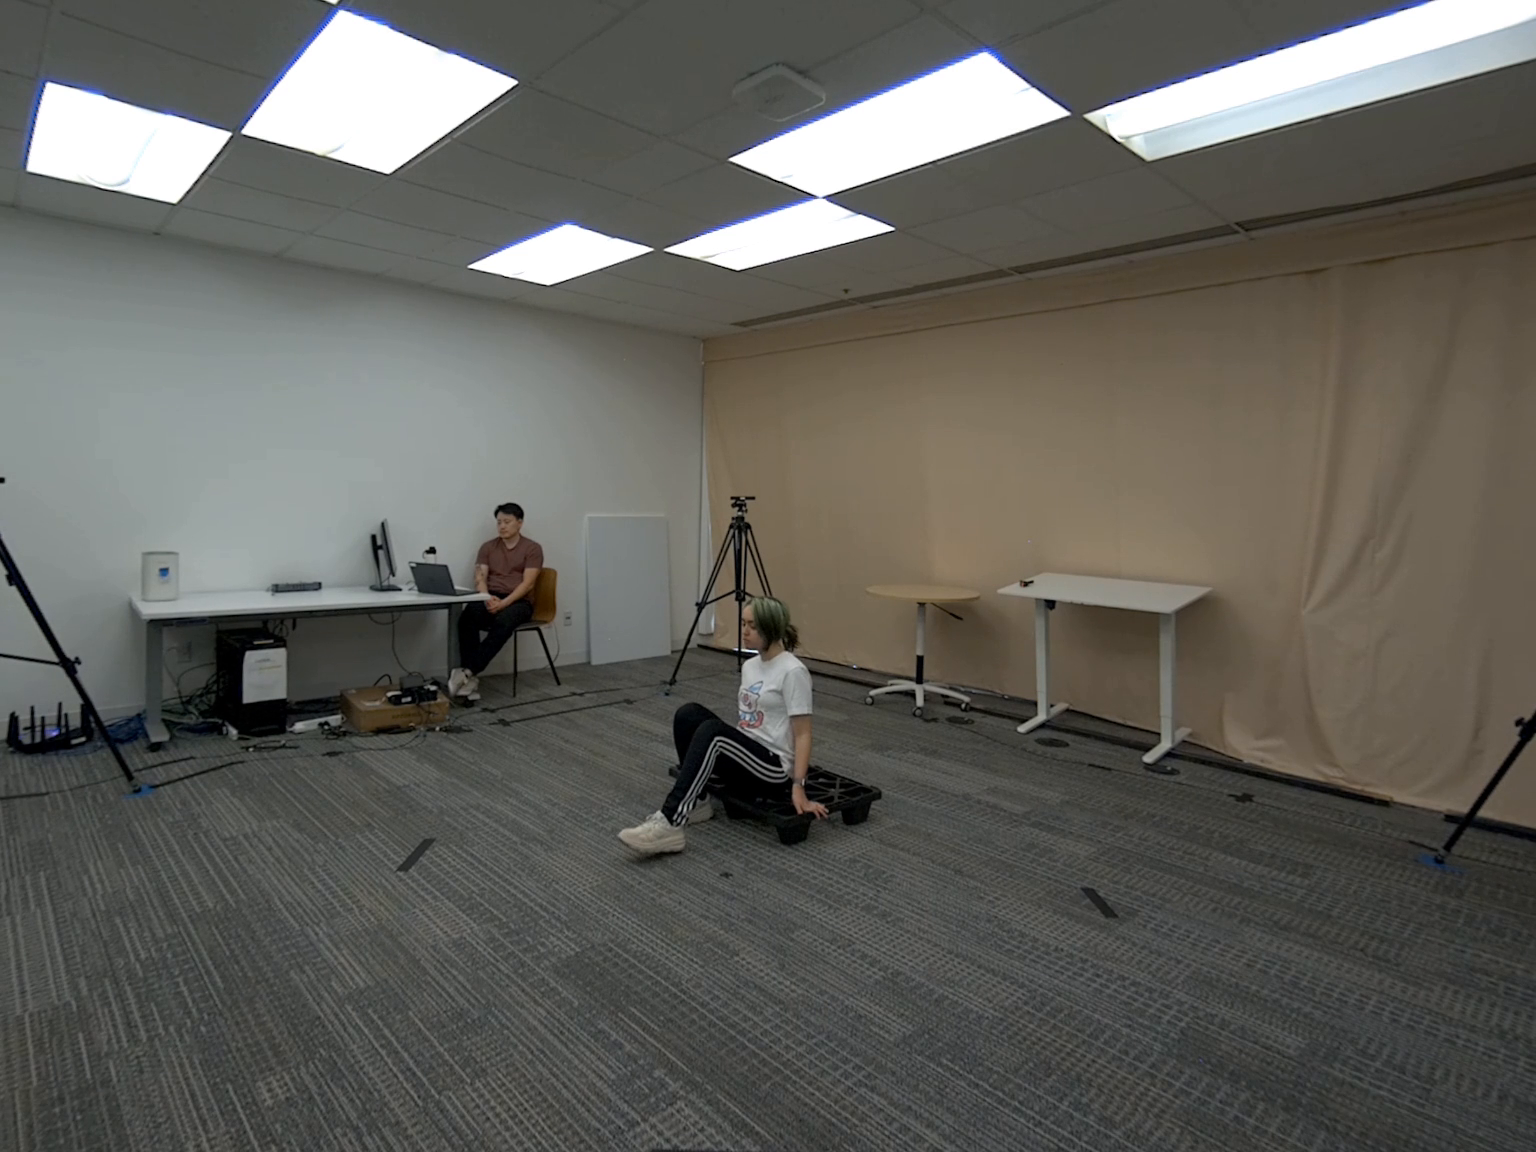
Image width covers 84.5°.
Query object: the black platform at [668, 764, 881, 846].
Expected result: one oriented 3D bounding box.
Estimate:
[{"bbox_3d":[0.008,0.982,3.803,0.592,0.143,0.826,-4,7,-40],"label":"black platform"}]
